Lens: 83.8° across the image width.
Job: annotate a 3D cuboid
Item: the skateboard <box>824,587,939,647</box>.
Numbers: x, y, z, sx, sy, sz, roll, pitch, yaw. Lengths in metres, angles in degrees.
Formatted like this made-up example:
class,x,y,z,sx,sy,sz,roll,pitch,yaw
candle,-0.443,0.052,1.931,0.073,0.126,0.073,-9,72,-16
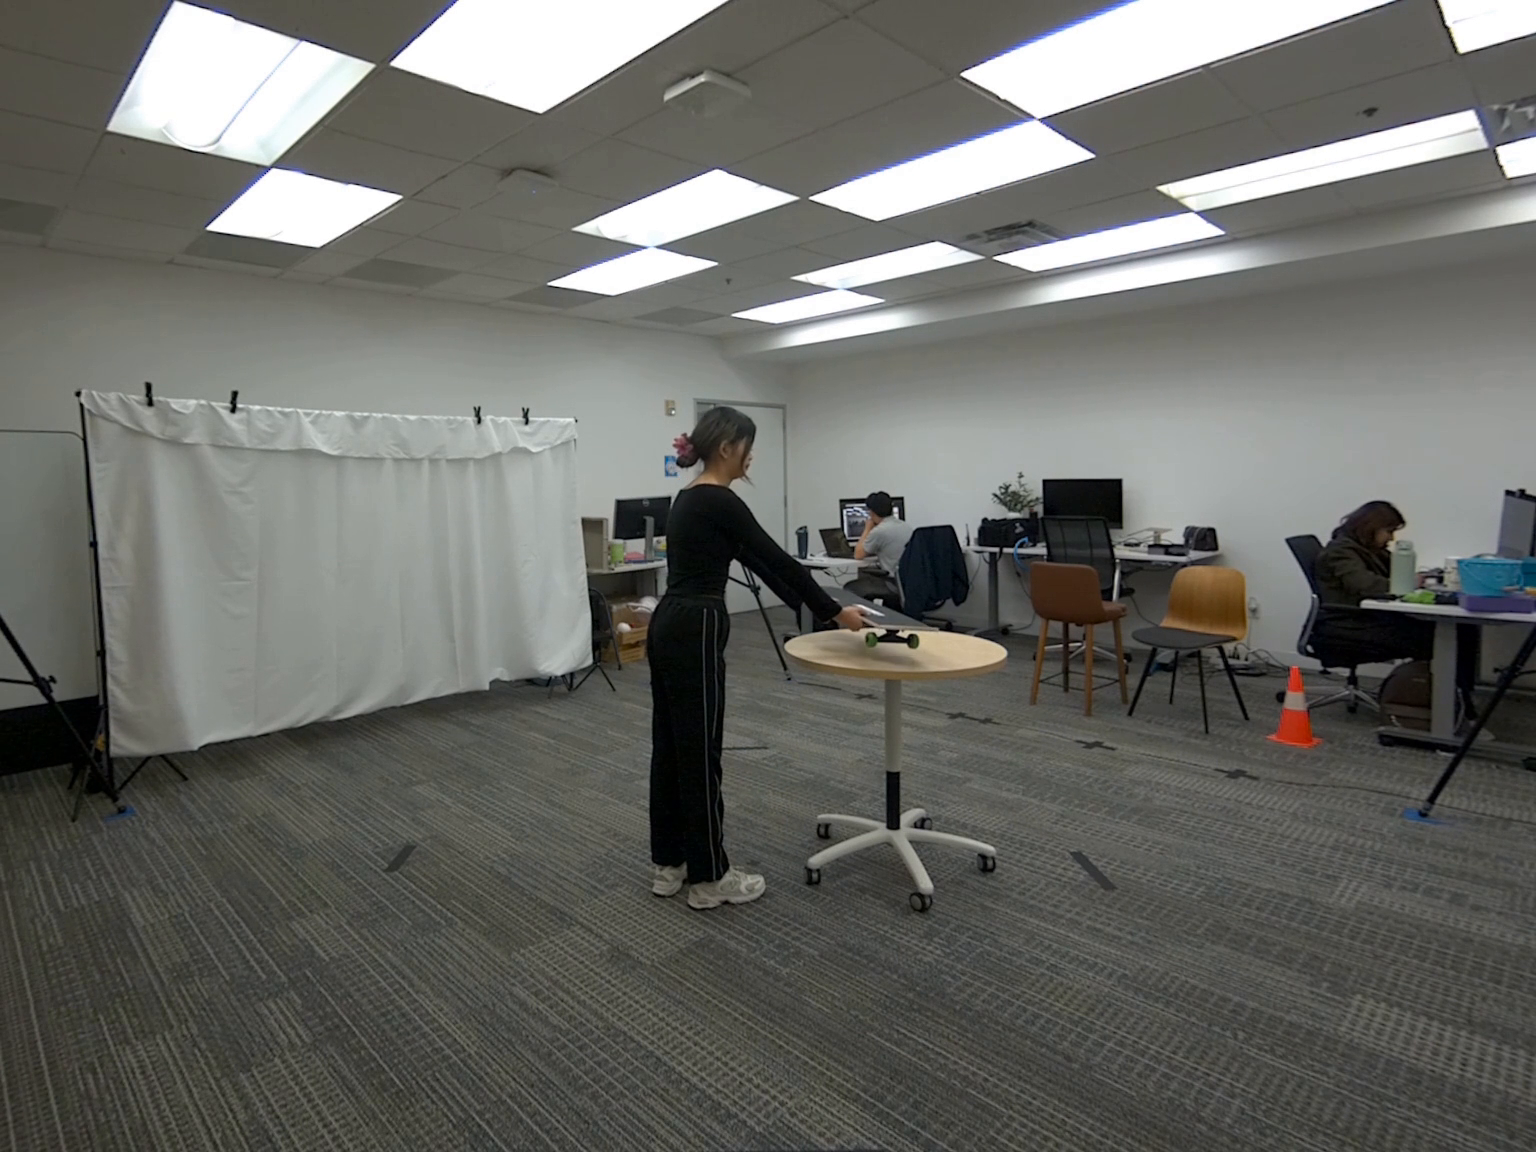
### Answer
class,x,y,z,sx,sy,sz,roll,pitch,yaw
skateboard,0.363,0.153,3.005,0.191,0.110,0.801,3,8,-15
